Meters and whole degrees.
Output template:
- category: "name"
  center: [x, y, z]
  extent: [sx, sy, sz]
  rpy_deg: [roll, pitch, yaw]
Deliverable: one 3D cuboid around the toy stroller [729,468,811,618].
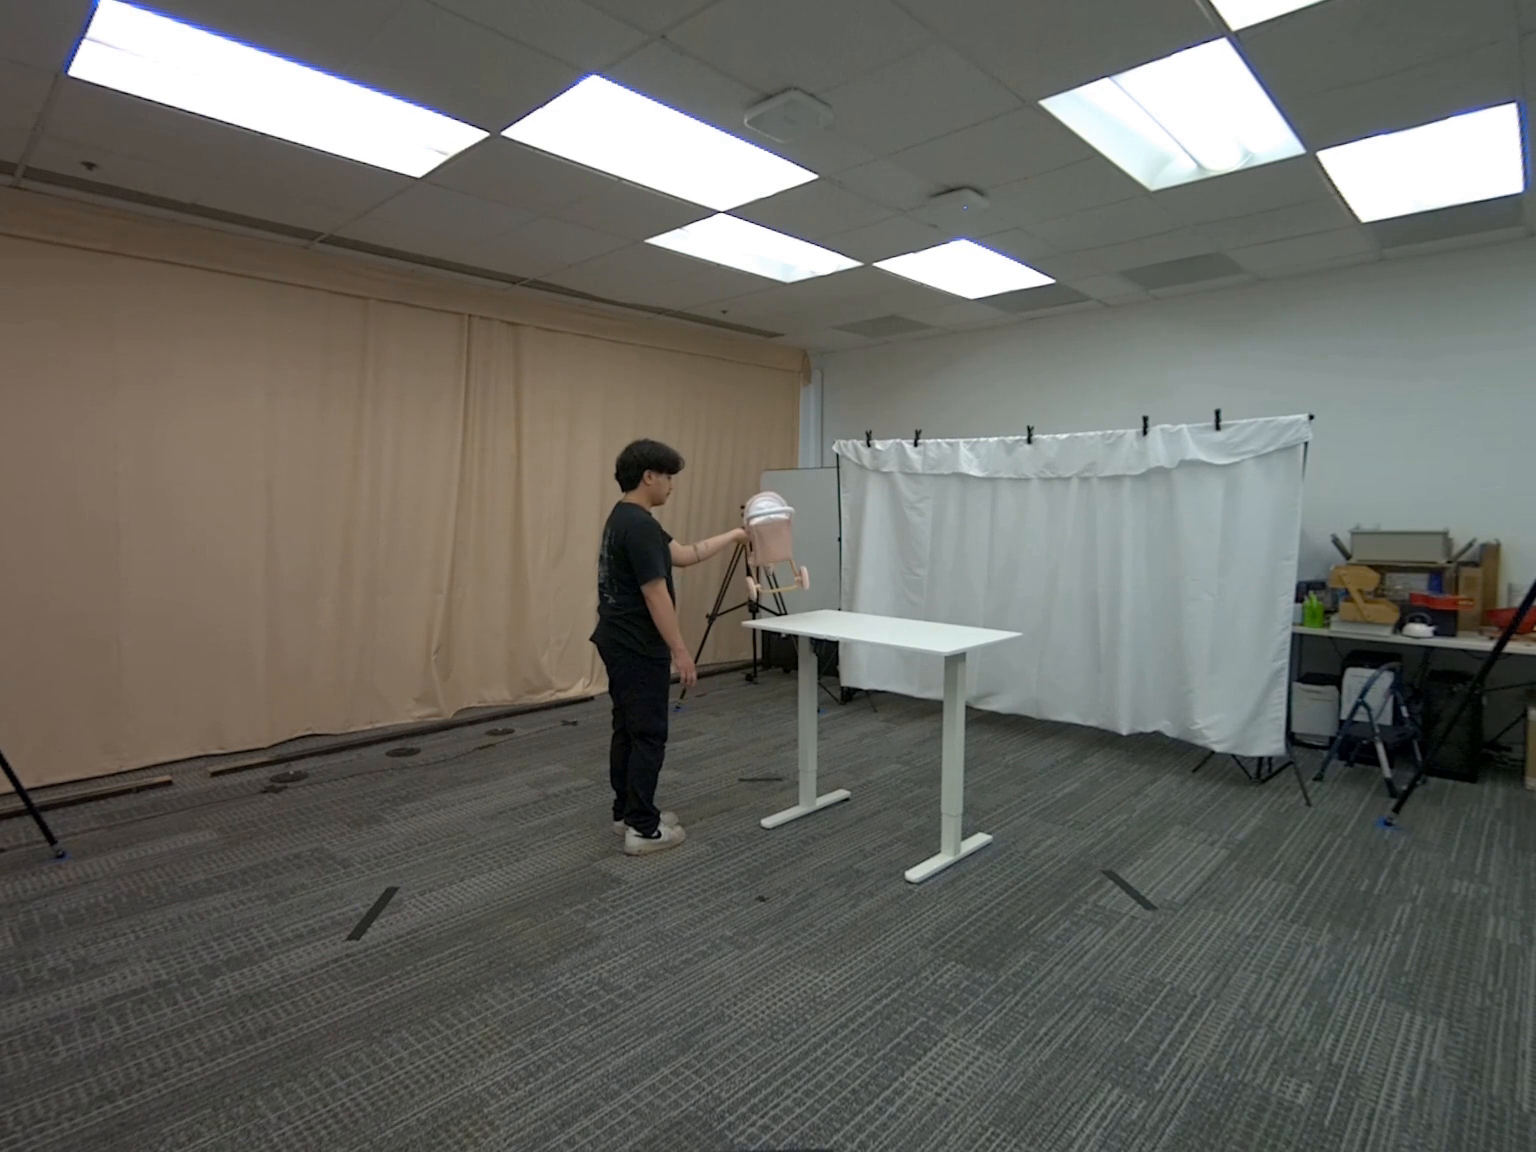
- category: "toy stroller"
  center: [0.007, -0.151, 3.813]
  extent: [0.281, 0.524, 0.349]
  rpy_deg: [-8, 33, -2]
